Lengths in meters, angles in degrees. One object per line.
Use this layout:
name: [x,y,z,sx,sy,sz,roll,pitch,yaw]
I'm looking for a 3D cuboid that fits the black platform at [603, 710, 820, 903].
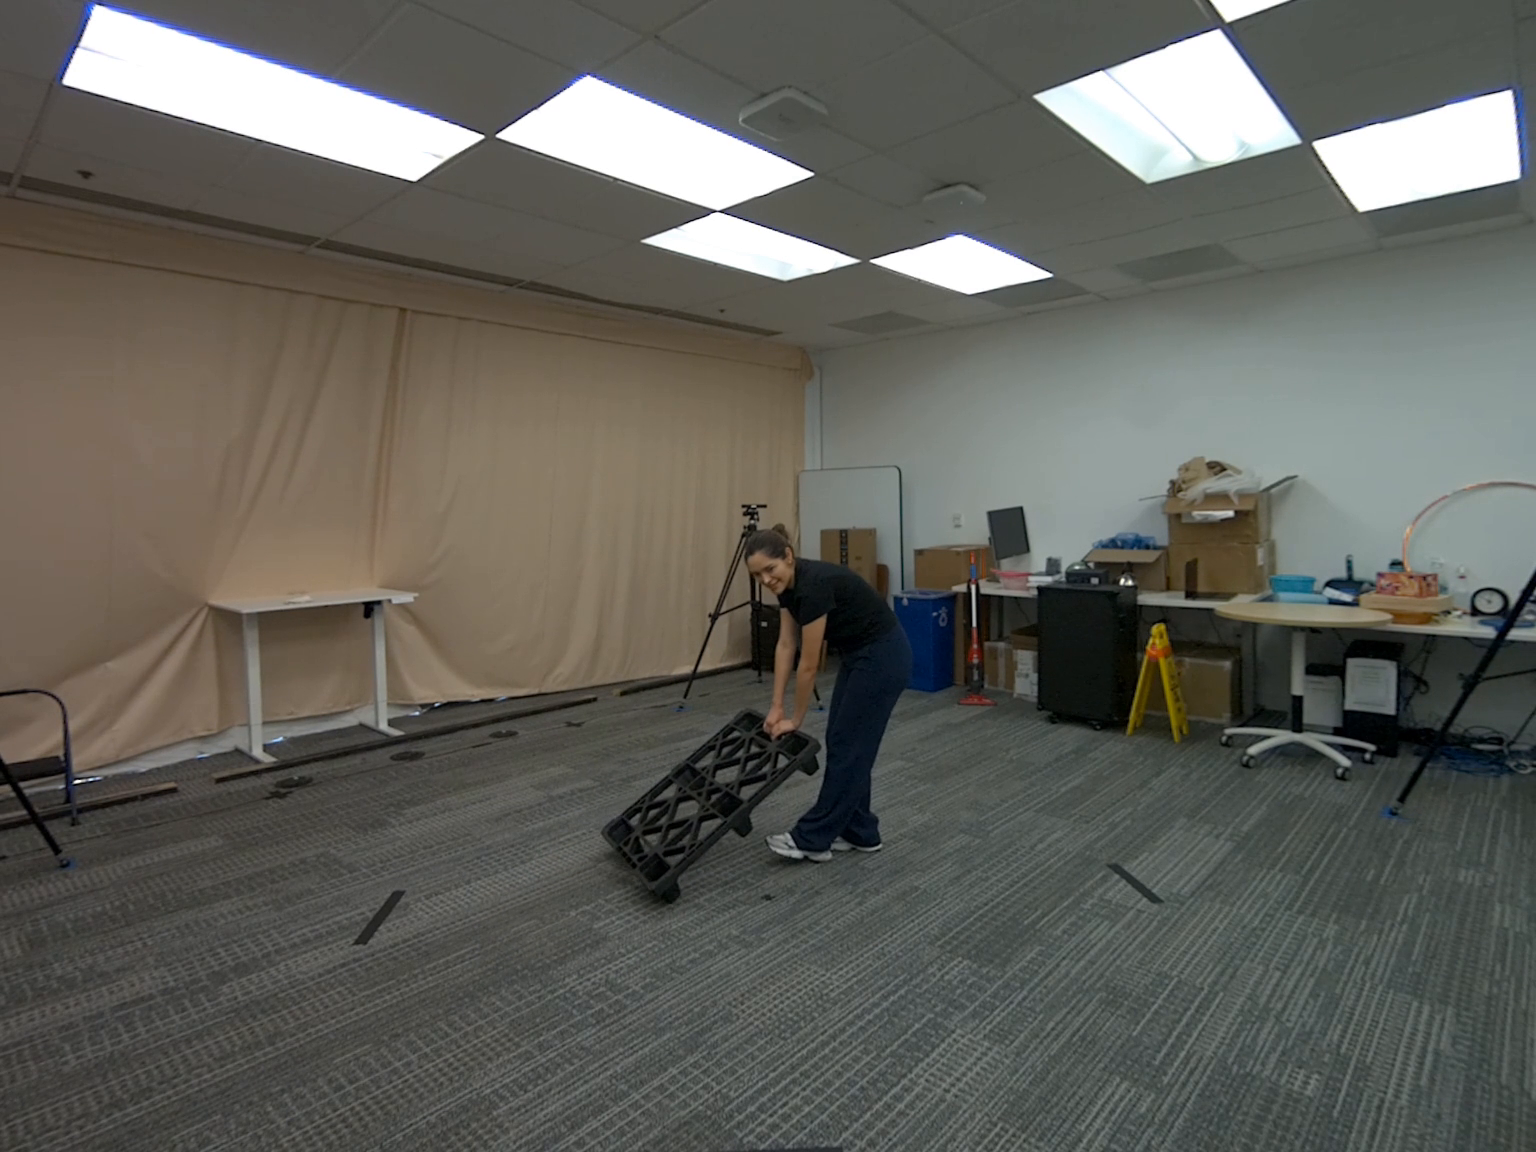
black platform: [-0.198,0.867,3.260,0.798,0.140,0.622,-39,21,-19]
